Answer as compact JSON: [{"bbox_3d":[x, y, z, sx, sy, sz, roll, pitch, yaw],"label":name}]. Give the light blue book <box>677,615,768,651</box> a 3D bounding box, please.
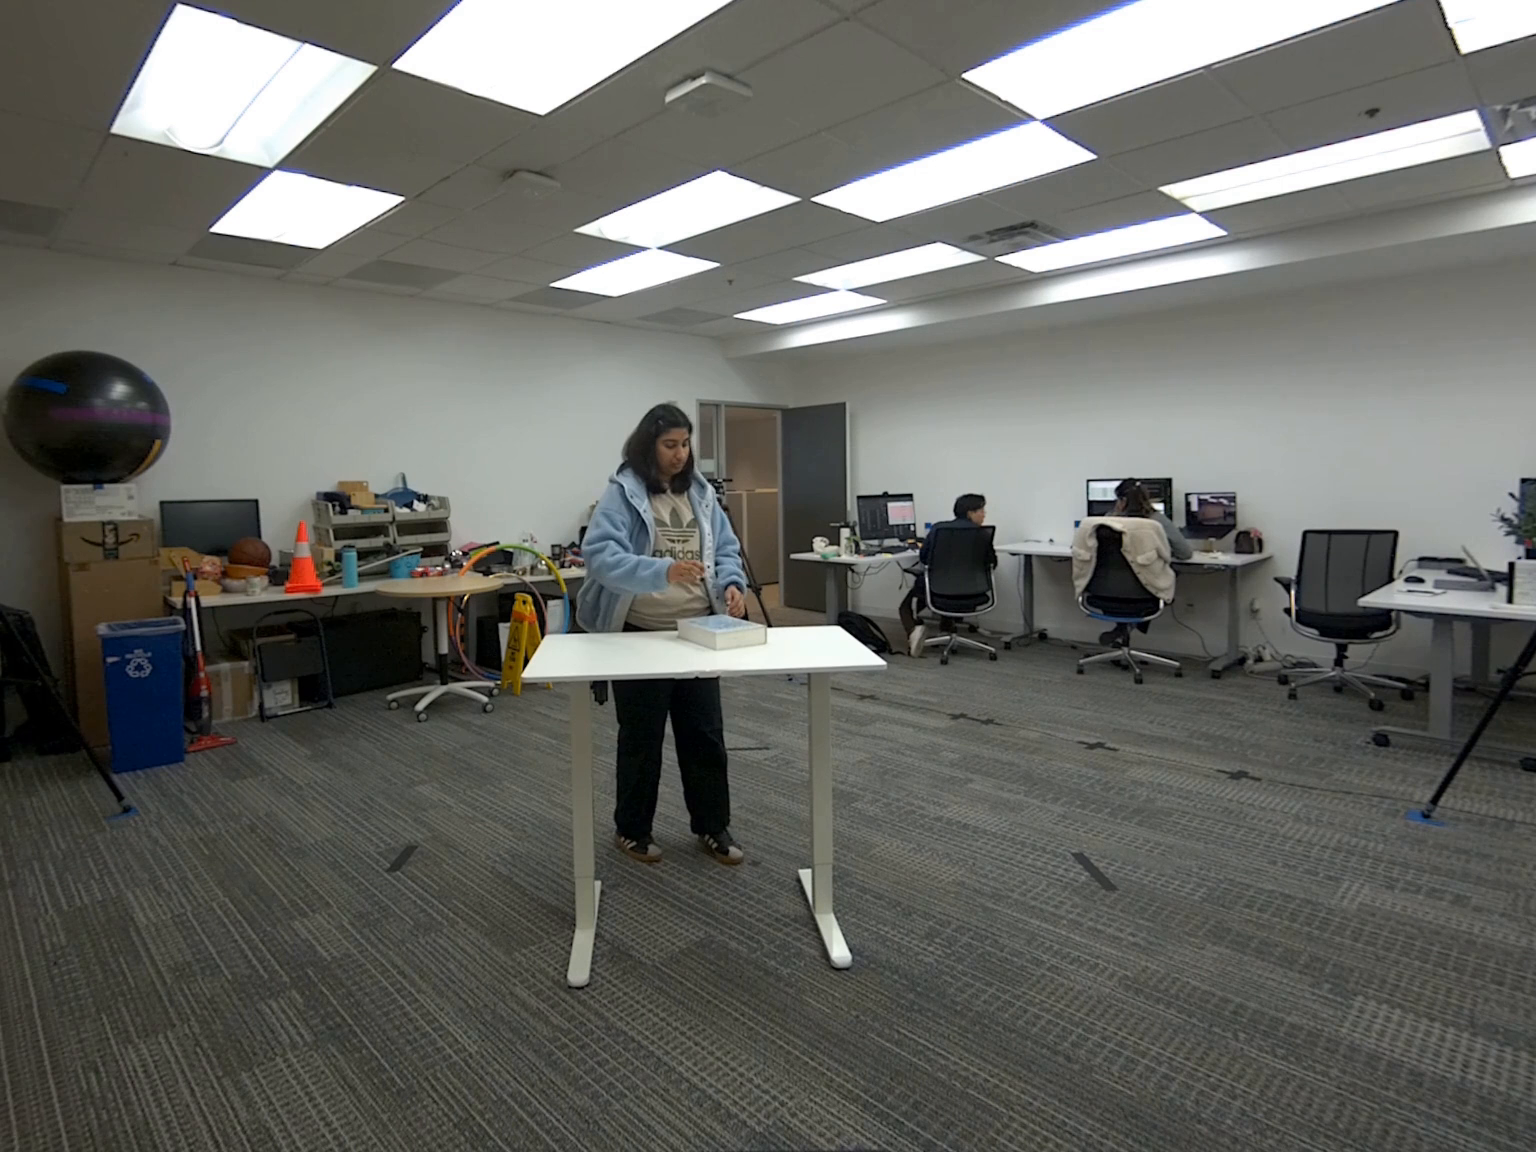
[{"bbox_3d":[-0.147,0.180,2.733,0.187,0.059,0.268,-4,7,-31],"label":"light blue book"}]
